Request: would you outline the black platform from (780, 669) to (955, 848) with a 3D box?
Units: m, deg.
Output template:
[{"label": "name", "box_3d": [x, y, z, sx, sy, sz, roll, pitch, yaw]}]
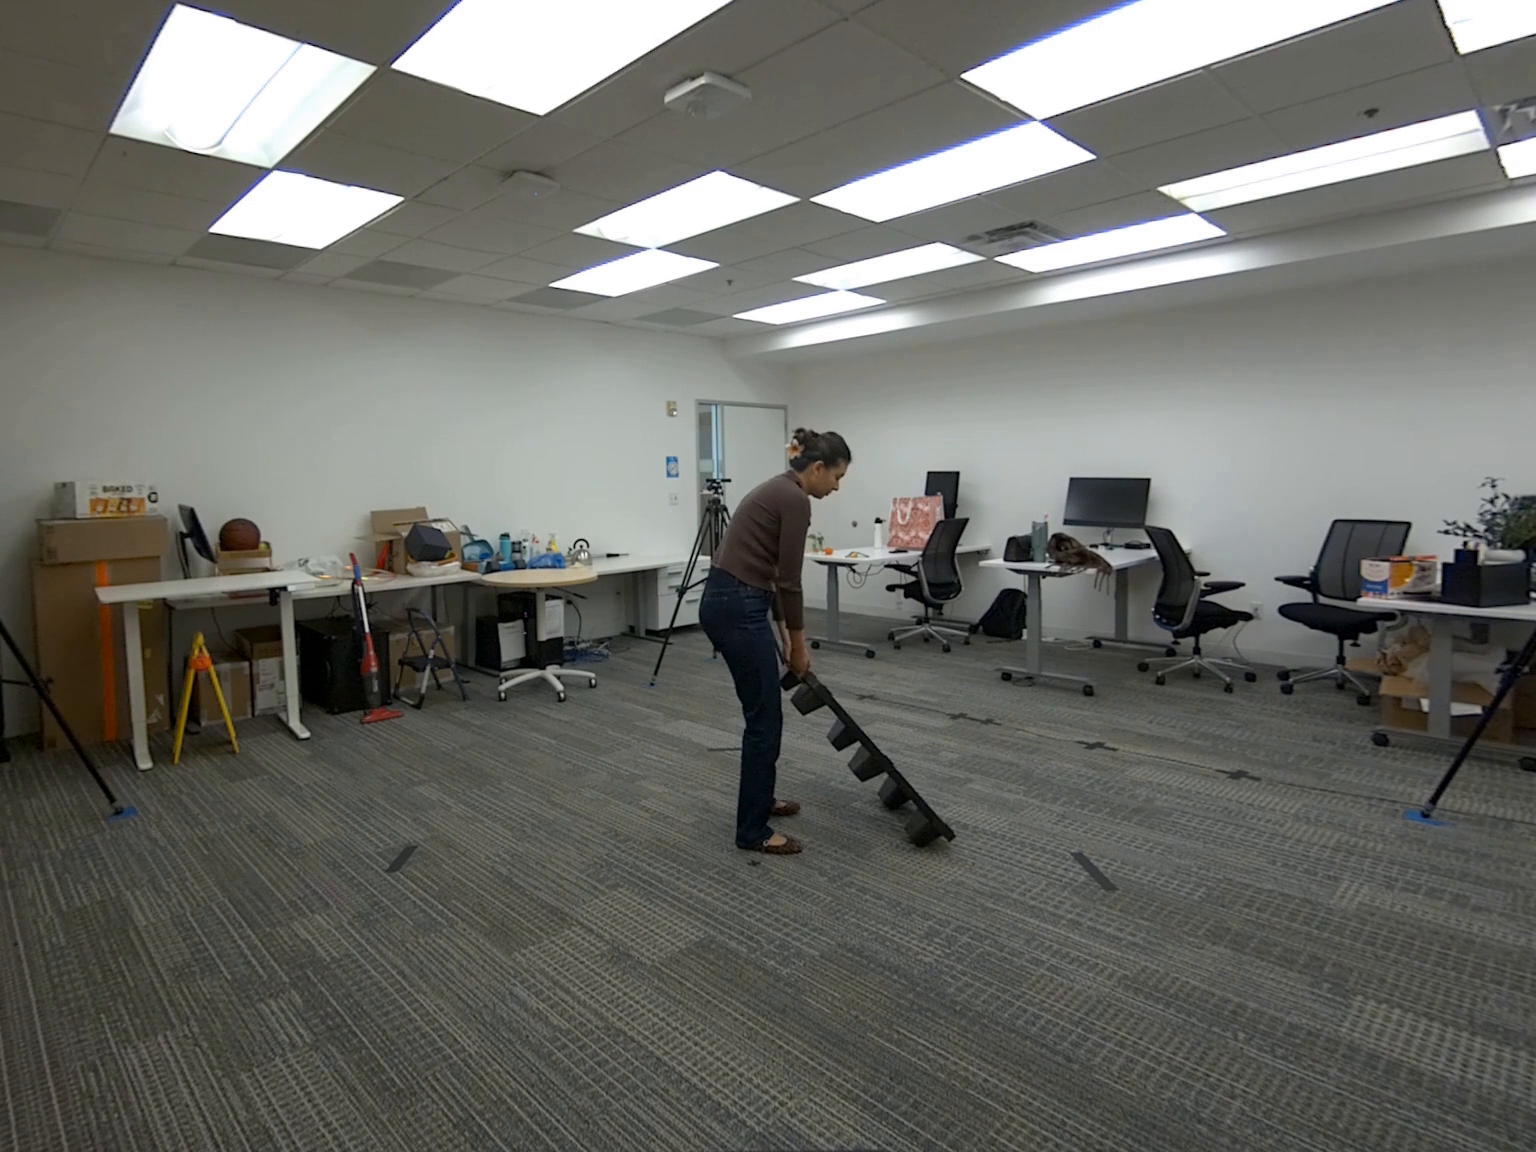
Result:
[{"label": "black platform", "box_3d": [0.353, 0.679, 3.426, 0.143, 0.799, 0.610, -40, 7, -3]}]
